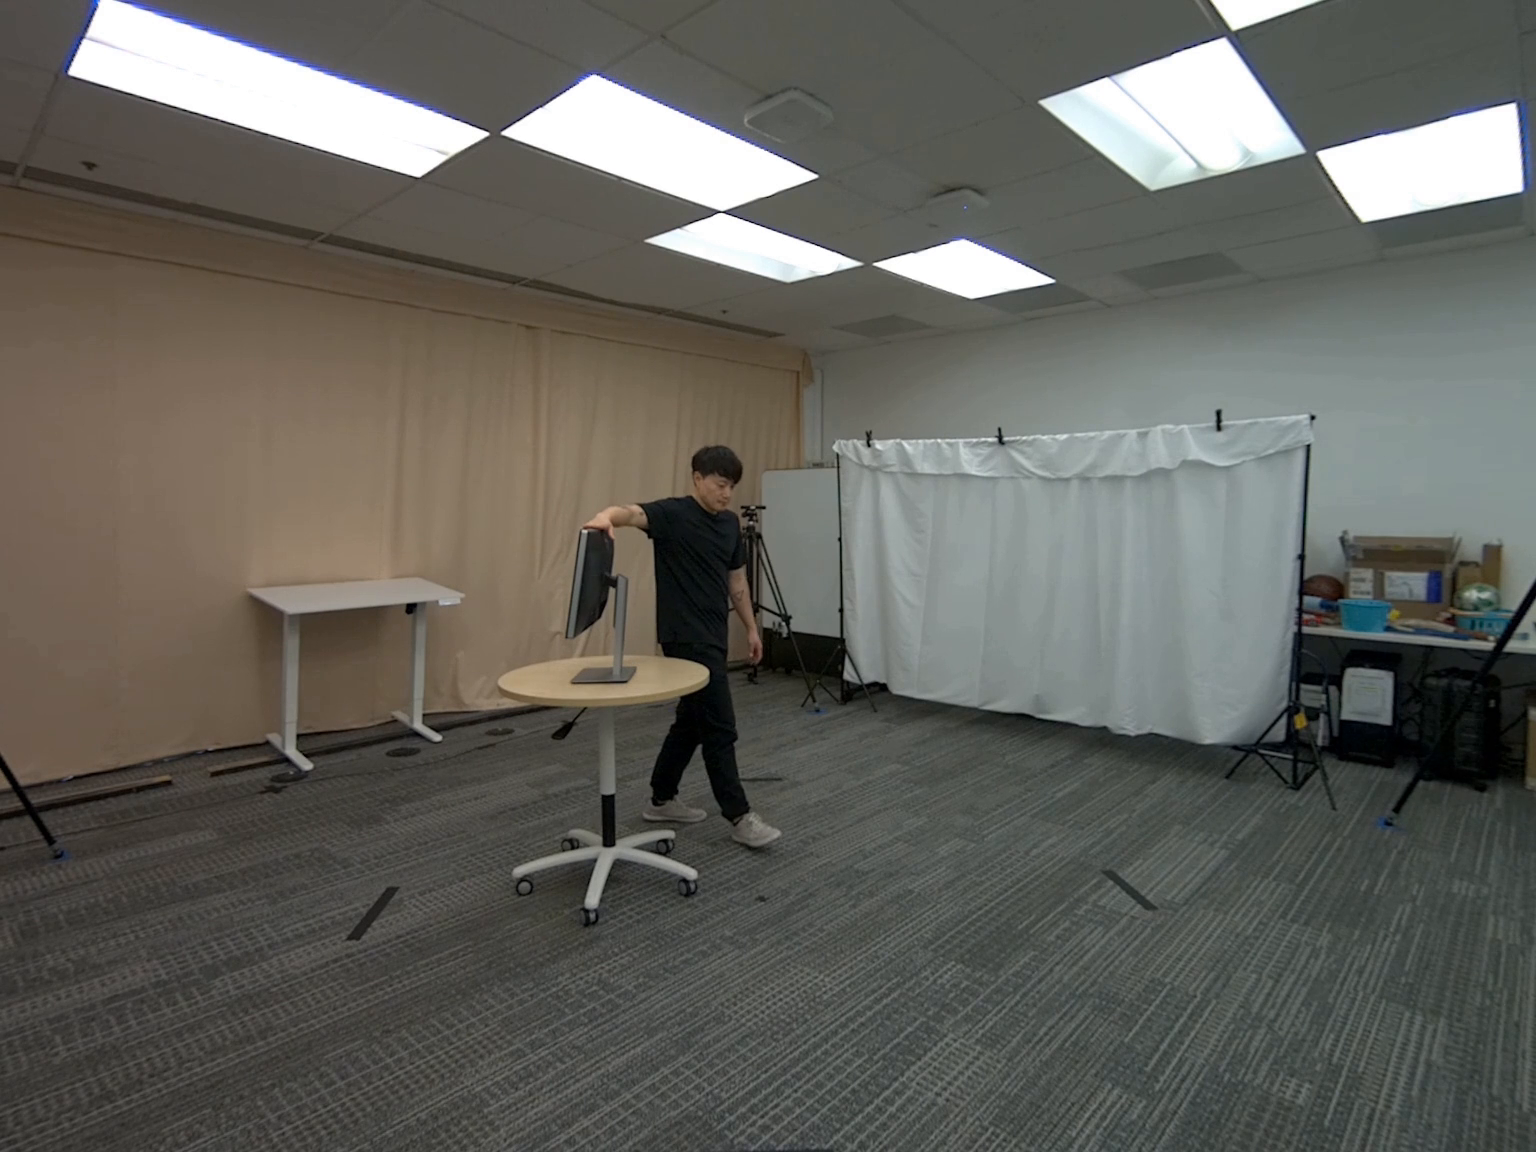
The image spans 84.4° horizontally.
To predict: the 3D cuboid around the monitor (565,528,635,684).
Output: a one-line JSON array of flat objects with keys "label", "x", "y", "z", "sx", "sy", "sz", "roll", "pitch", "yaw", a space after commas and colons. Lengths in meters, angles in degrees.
[{"label": "monitor", "x": -0.596, "y": 0.103, "z": 3.034, "sx": 0.187, "sy": 0.521, "sz": 0.541, "roll": -3, "pitch": 5, "yaw": -3}]
